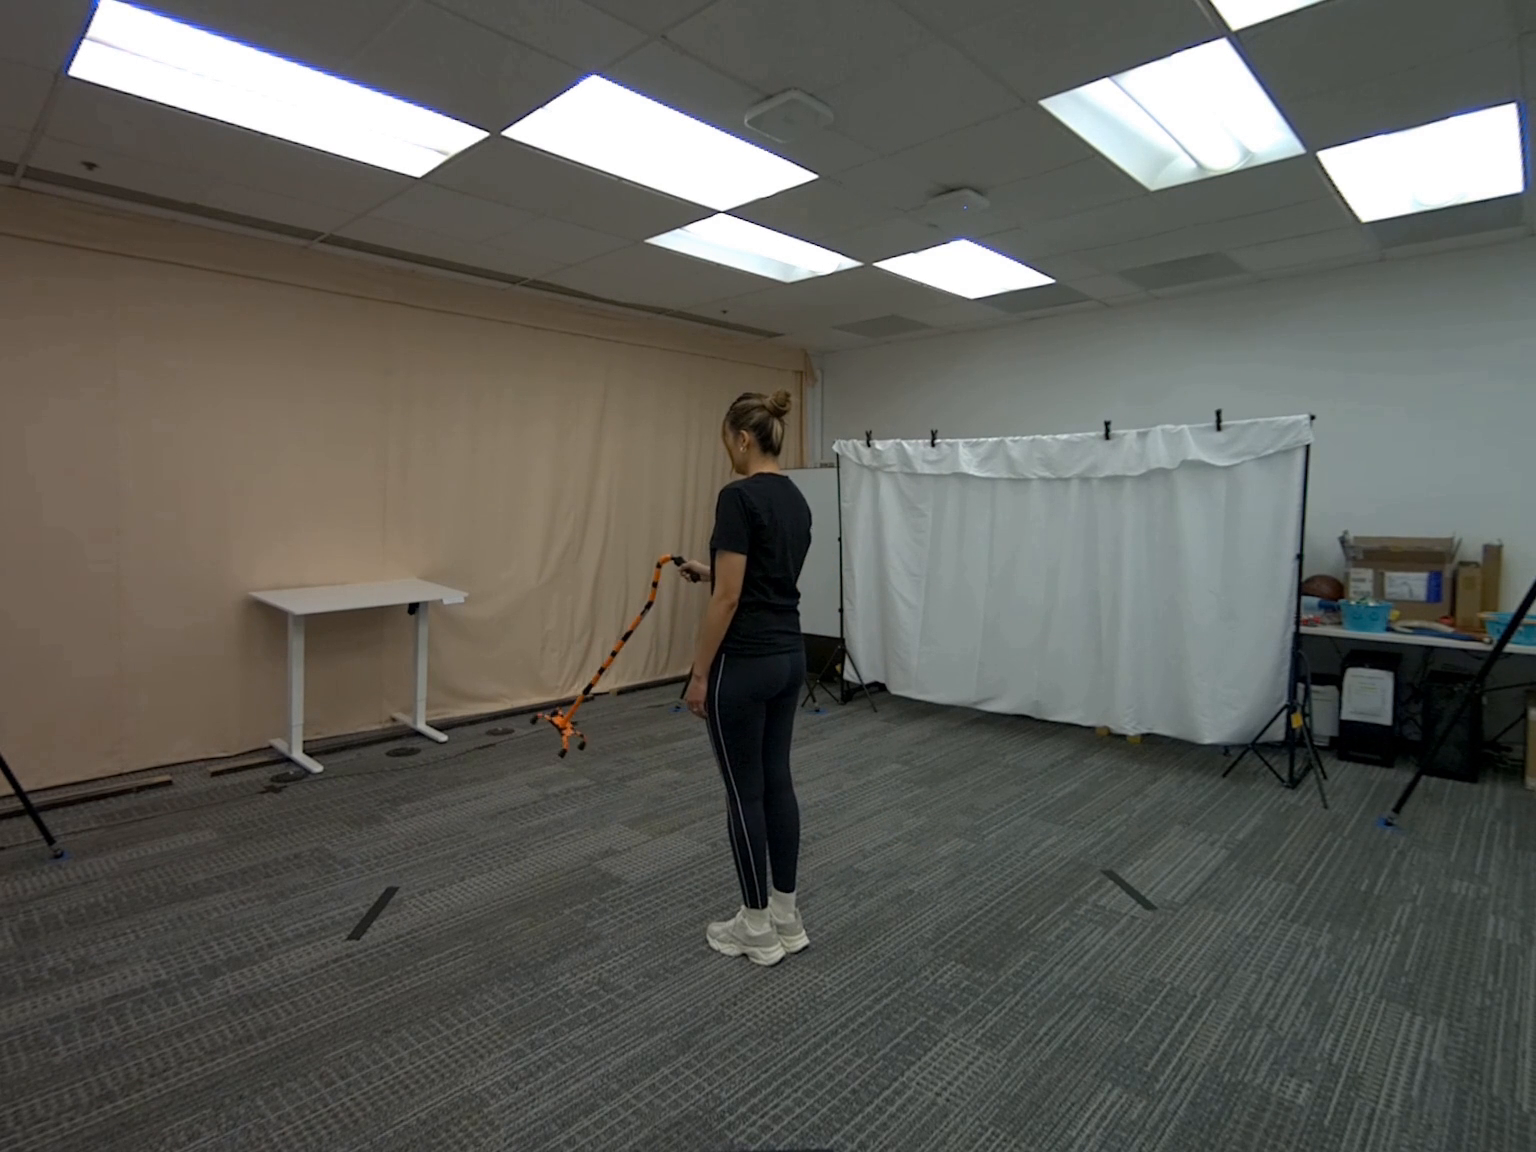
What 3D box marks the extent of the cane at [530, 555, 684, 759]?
[{"bbox_3d":[-0.563,0.291,3.140,0.211,0.910,0.148,43,18,18],"label":"cane"}]
